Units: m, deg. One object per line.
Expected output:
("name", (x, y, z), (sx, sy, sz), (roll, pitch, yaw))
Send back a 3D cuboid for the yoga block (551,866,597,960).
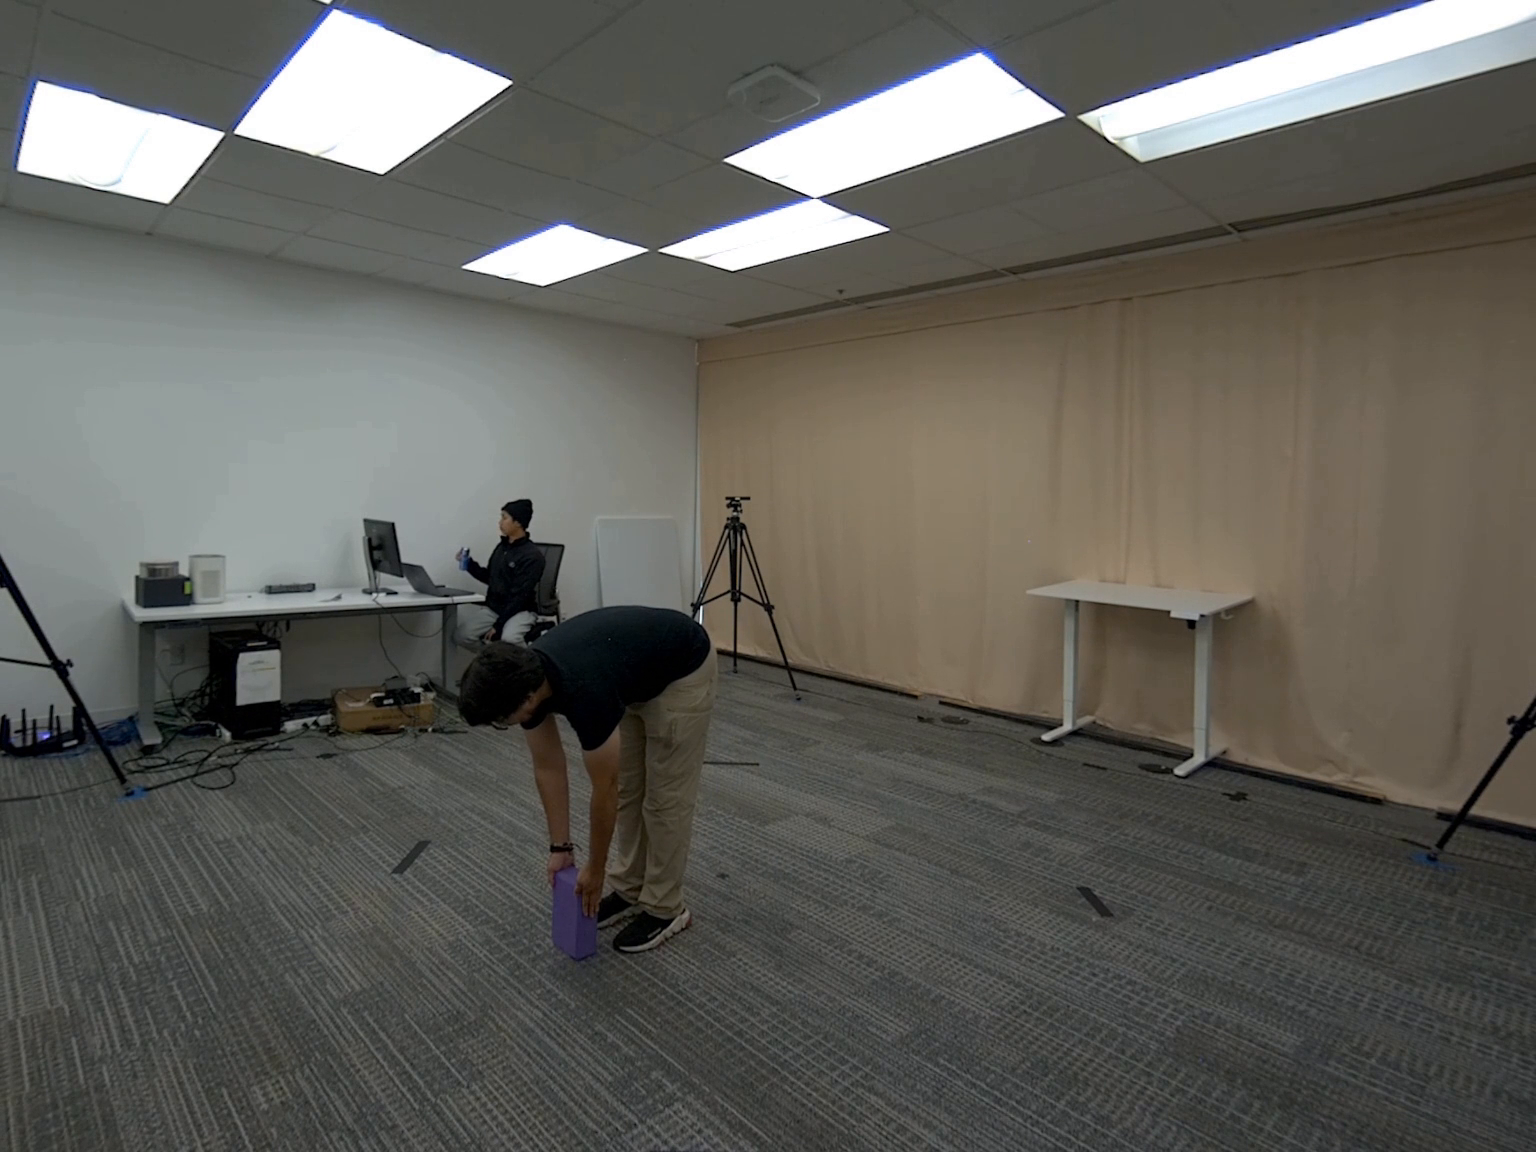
("yoga block", (-0.596, 1.033, 2.575), (0.075, 0.229, 0.153), (-2, 5, -41))
